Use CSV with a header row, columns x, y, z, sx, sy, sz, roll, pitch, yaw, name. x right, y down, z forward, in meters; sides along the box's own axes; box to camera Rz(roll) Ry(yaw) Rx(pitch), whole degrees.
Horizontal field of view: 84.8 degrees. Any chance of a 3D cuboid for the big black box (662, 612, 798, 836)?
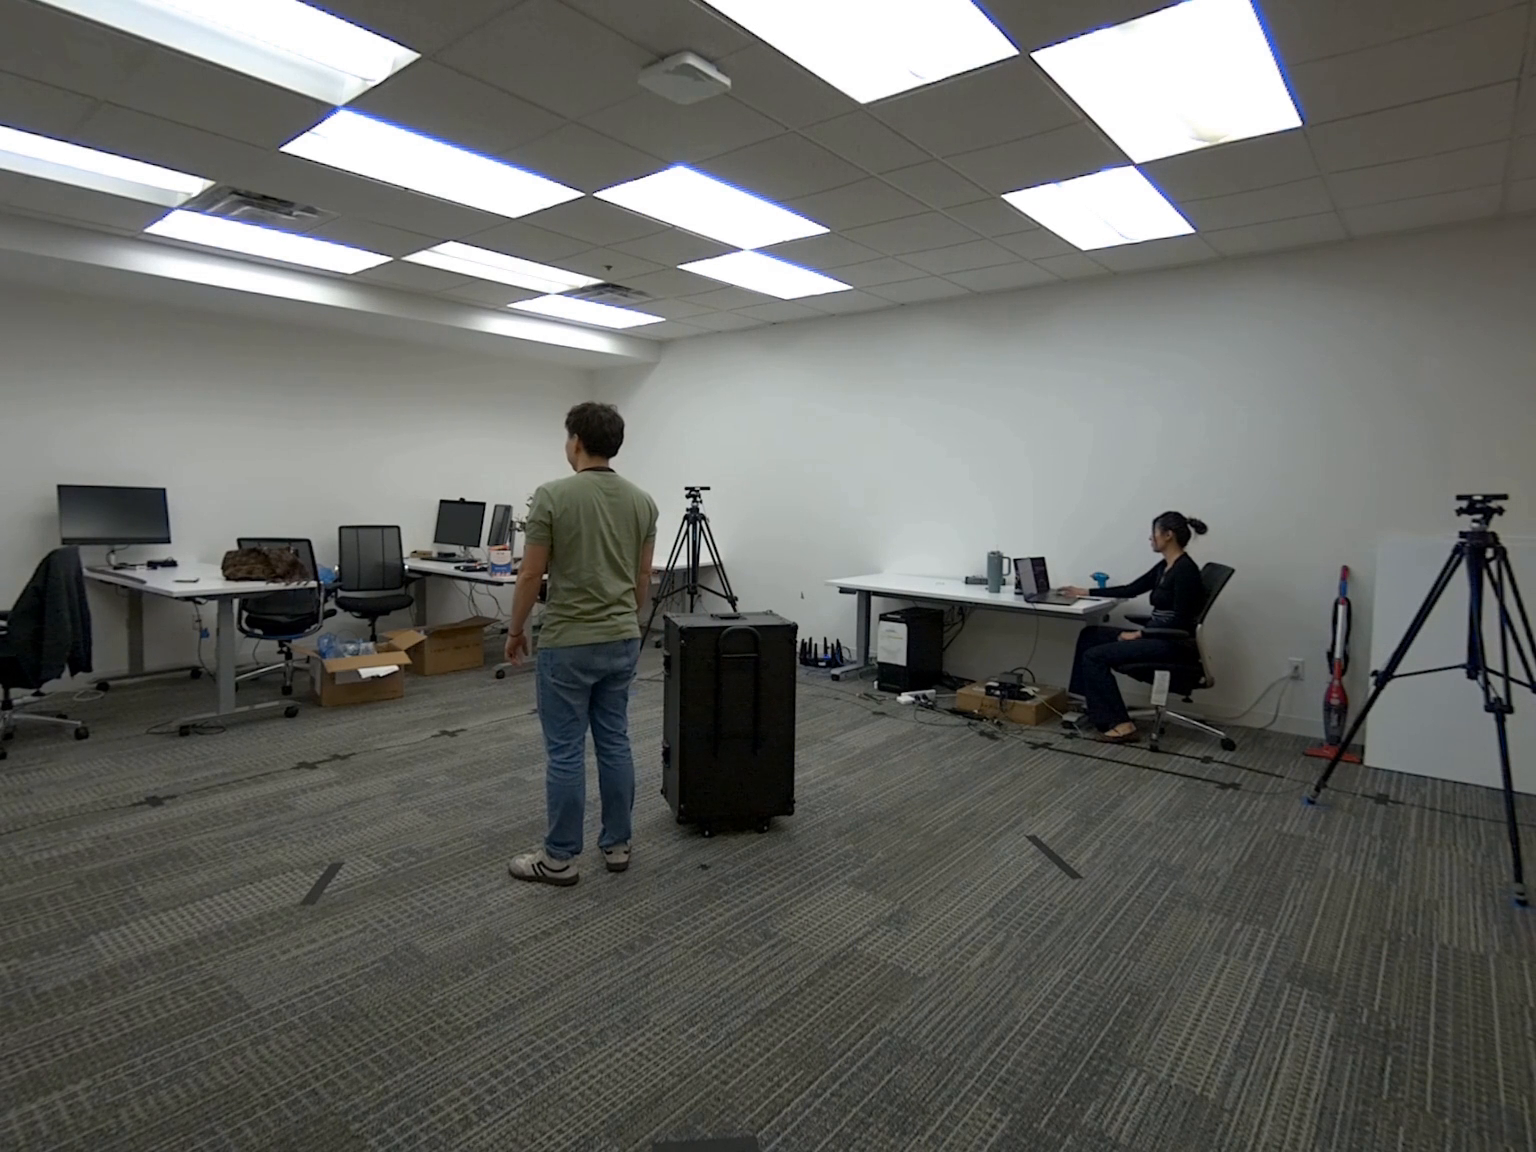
x,y,z,sx,sy,sz,roll,pitch,yaw,name
-0.183,0.536,3.529,0.513,0.859,0.404,0,3,-16,big black box
